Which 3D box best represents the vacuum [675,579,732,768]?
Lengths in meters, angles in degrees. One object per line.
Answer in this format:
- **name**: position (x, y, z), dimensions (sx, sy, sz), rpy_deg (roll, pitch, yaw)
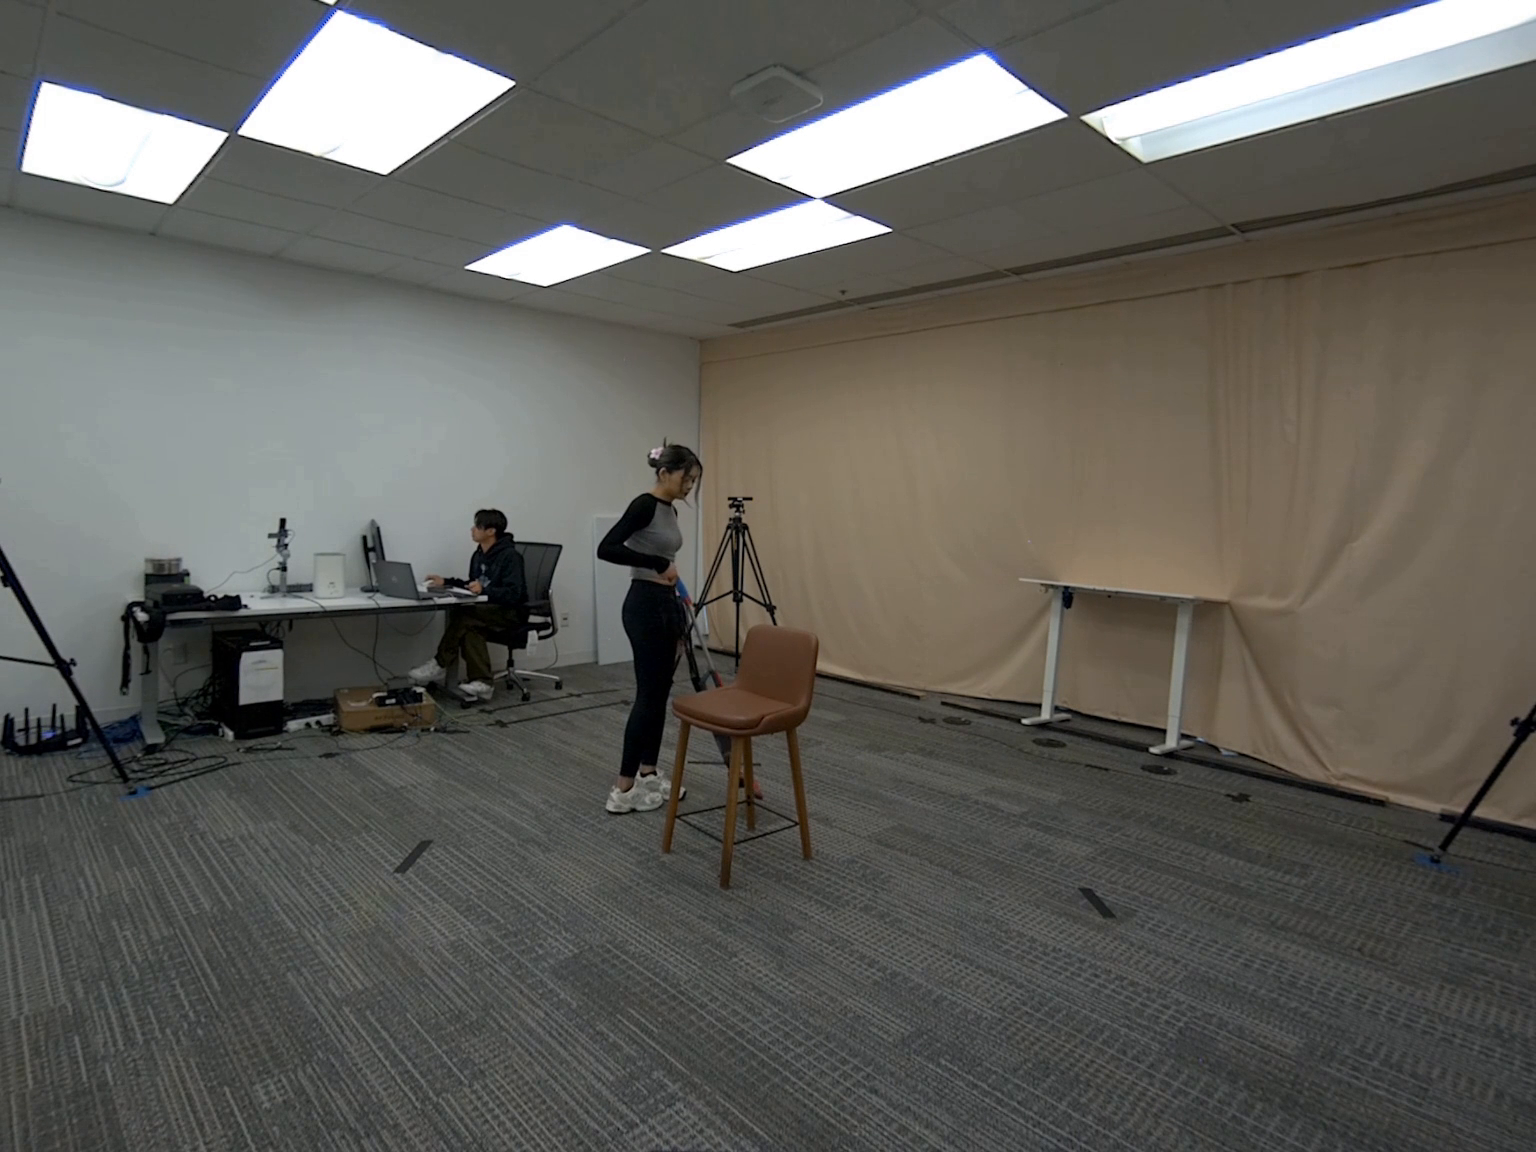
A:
- **vacuum**: position (-0.287, 0.441, 3.691), dimensions (0.143, 1.046, 0.254), rpy_deg (-21, 3, -12)
